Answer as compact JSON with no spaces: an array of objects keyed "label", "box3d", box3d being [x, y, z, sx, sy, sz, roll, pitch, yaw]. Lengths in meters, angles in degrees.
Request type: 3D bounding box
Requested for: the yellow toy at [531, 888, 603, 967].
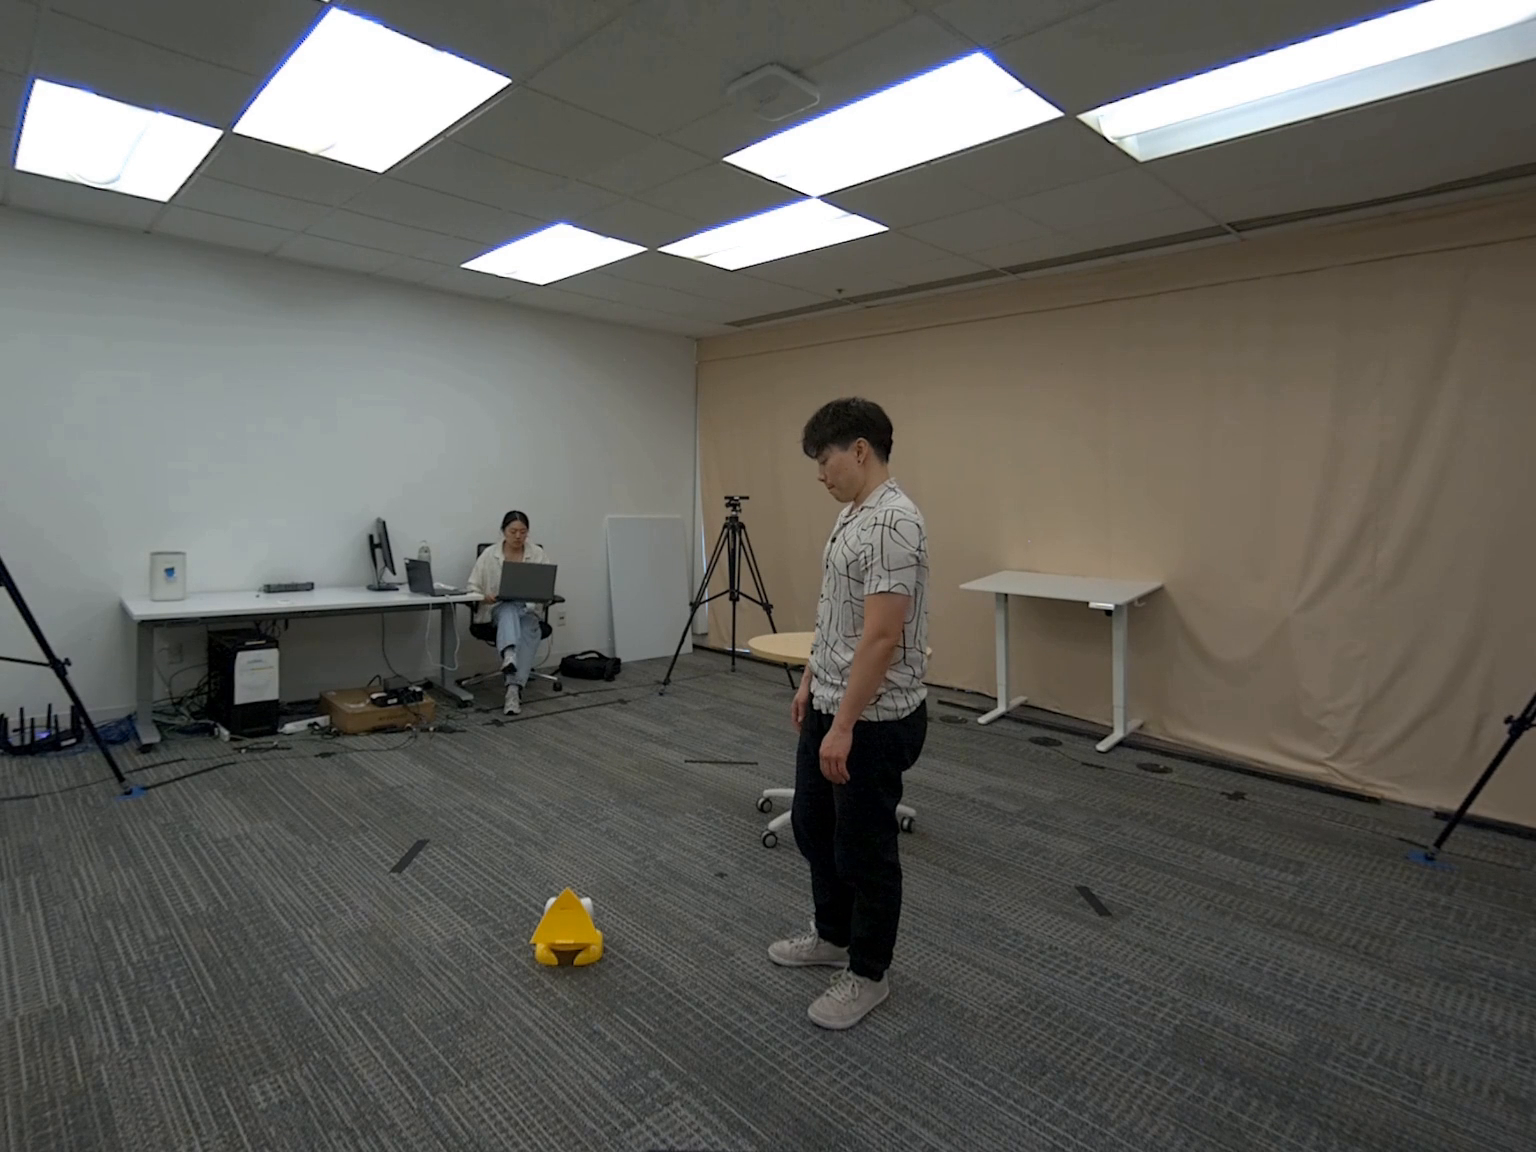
[{"label":"yellow toy","box3d":[-0.608,1.033,2.545,0.204,0.230,0.194,2,5,-4]}]
